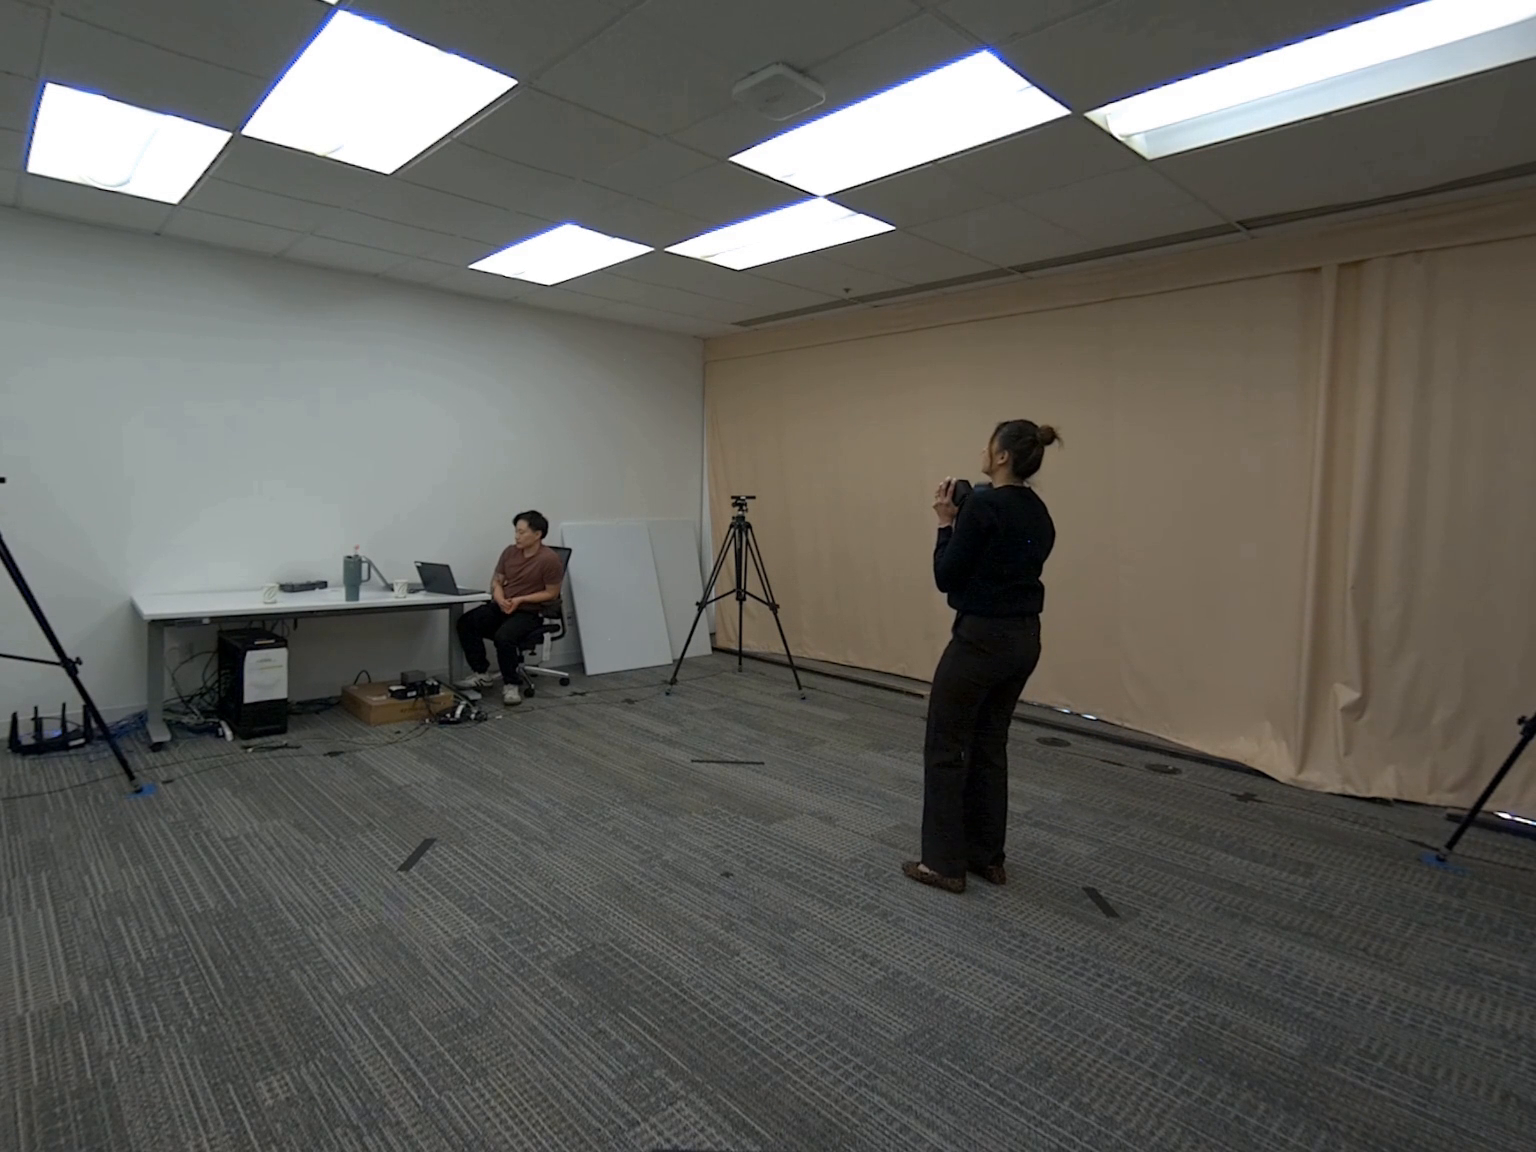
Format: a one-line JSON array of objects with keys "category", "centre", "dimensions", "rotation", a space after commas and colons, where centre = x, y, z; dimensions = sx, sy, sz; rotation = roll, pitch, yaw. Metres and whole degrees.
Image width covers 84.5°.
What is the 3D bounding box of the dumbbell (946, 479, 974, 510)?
[{"category": "dumbbell", "centre": [0.768, -0.293, 3.129], "dimensions": [0.287, 0.122, 0.112], "rotation": [-2, 36, -42]}]
